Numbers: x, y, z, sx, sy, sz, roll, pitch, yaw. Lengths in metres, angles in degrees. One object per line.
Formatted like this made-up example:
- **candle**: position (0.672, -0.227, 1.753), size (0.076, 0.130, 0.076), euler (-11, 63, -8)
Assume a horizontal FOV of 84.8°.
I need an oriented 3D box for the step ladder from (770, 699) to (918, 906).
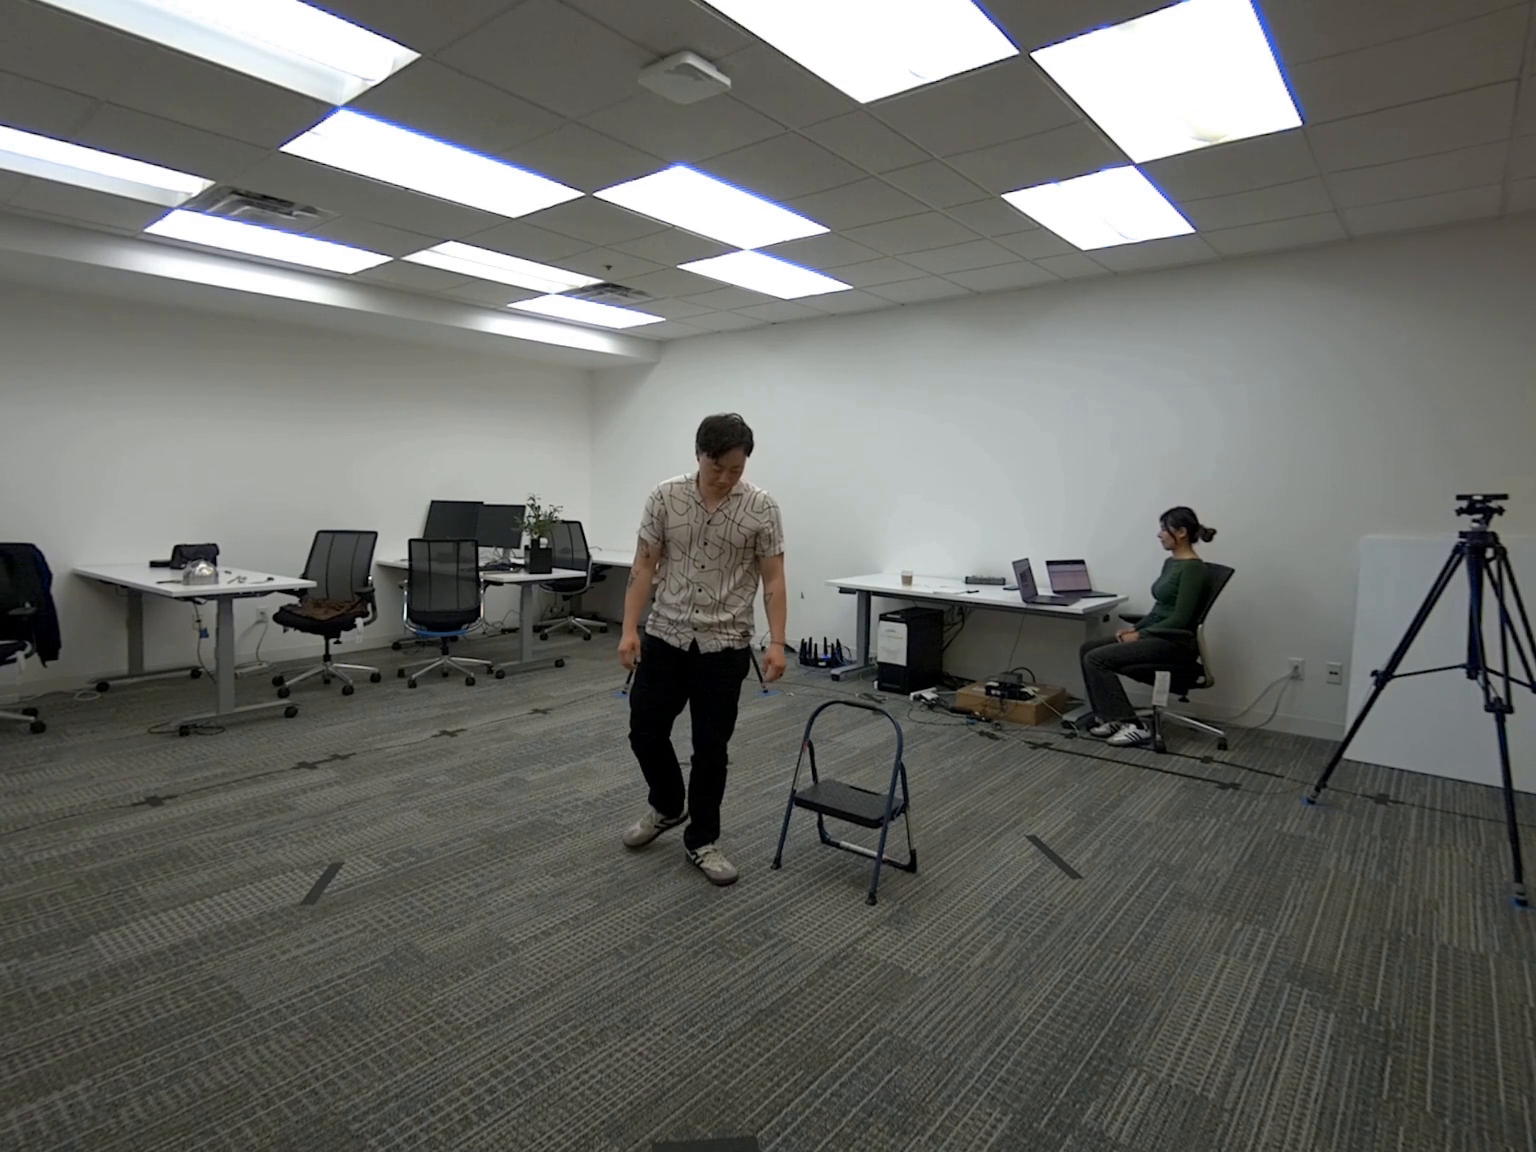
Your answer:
- **step ladder**: position (0.282, 0.772, 3.098), size (0.445, 0.604, 0.339), euler (4, 4, 38)
